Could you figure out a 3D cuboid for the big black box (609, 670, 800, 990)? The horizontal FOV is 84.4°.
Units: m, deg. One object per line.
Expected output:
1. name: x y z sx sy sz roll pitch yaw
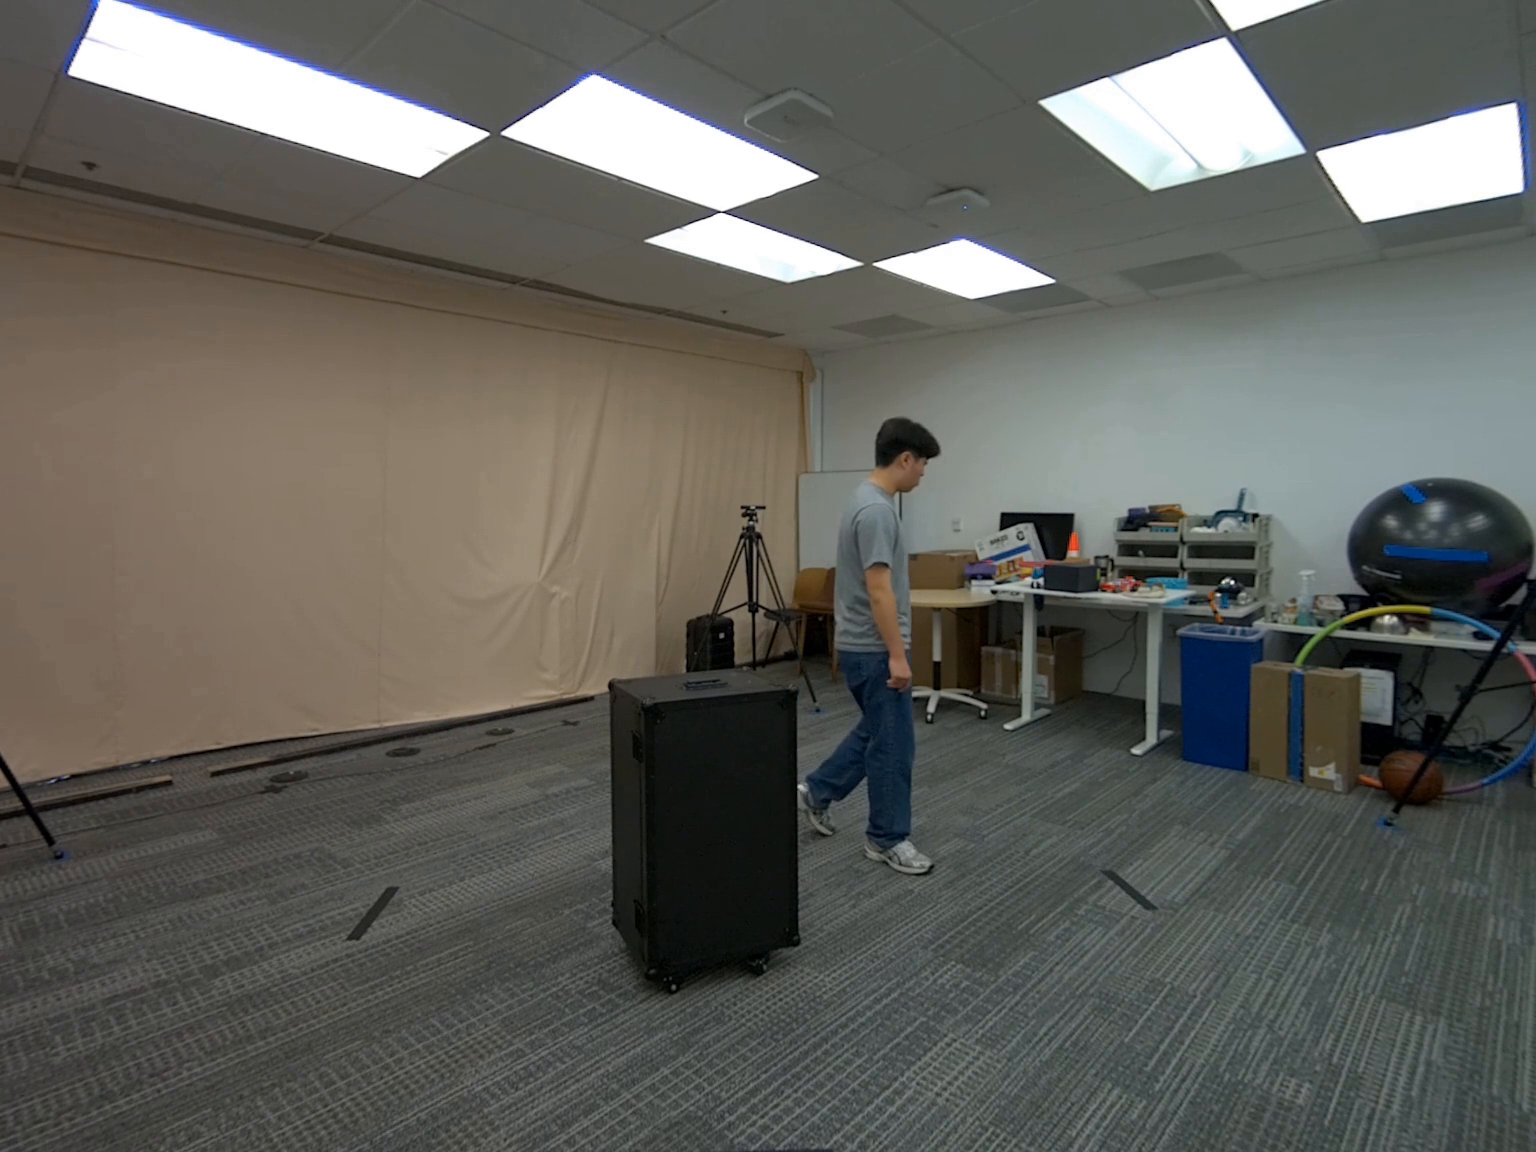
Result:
1. big black box: -0.207 0.751 2.588 0.509 0.860 0.406 -2 2 -25
